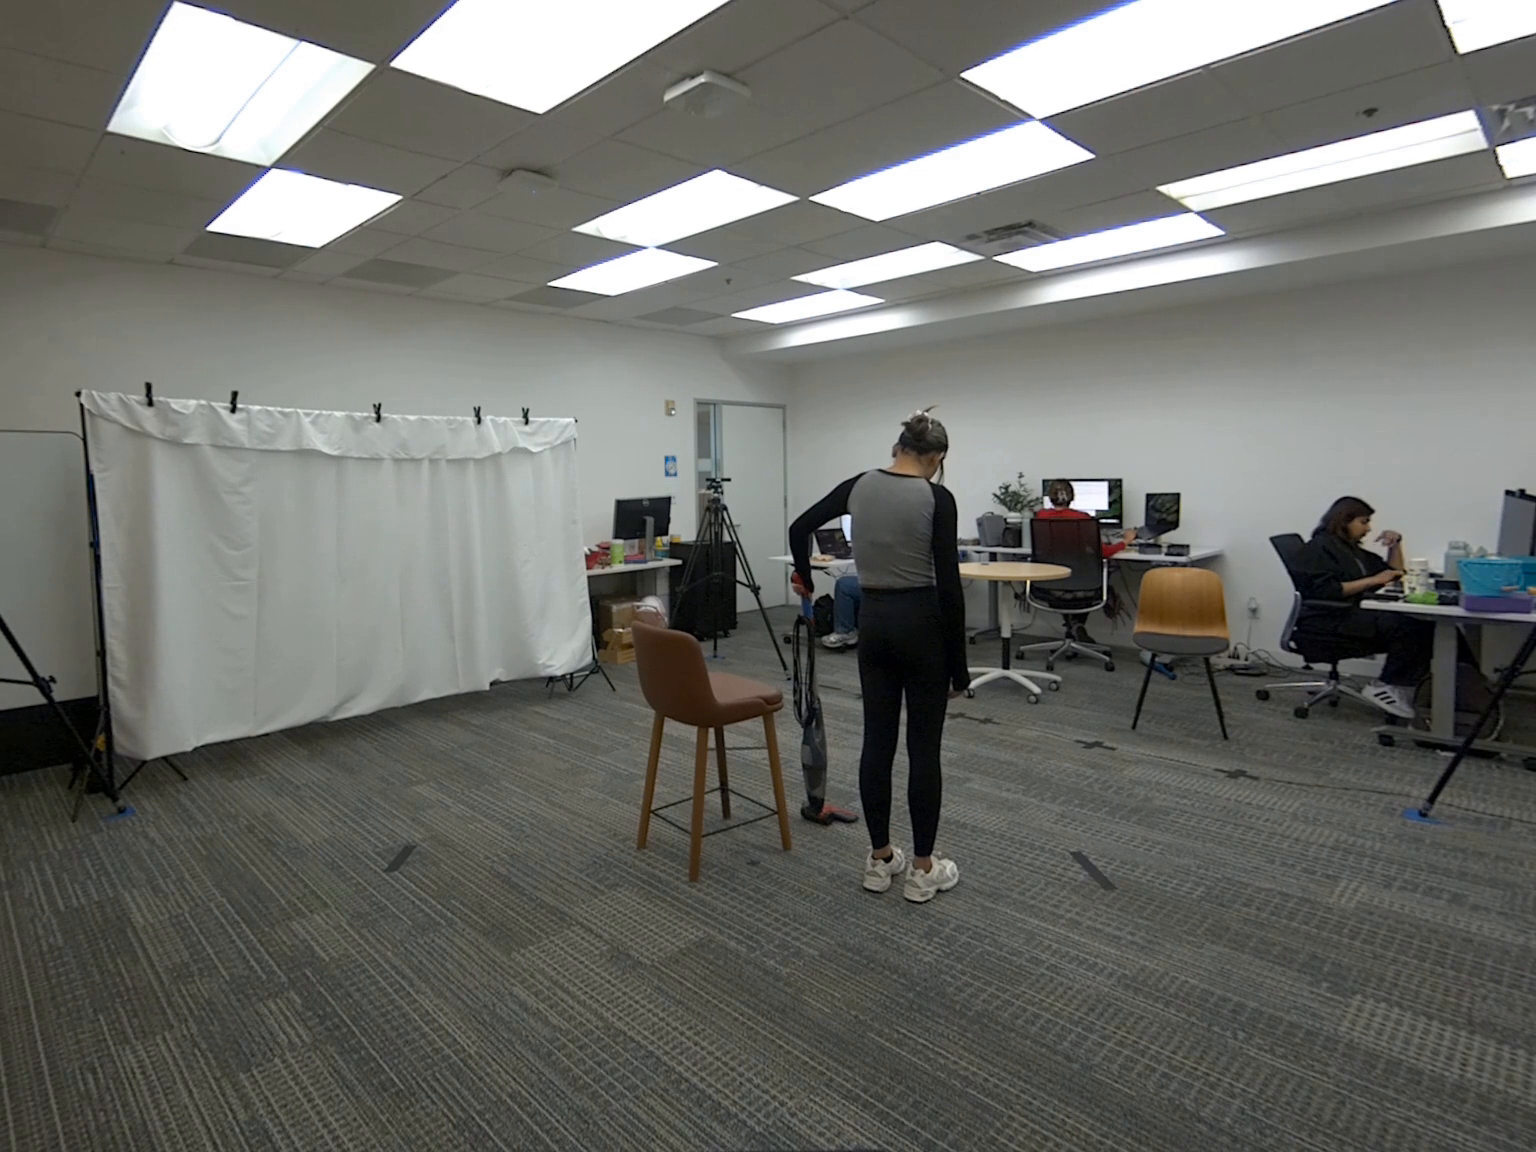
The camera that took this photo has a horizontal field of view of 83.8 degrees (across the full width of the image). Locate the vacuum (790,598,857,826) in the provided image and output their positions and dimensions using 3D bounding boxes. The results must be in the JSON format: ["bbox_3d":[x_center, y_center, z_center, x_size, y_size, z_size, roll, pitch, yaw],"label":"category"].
[{"bbox_3d":[0.172,0.501,3.391,0.141,1.034,0.261,-19,19,-42],"label":"vacuum"}]
